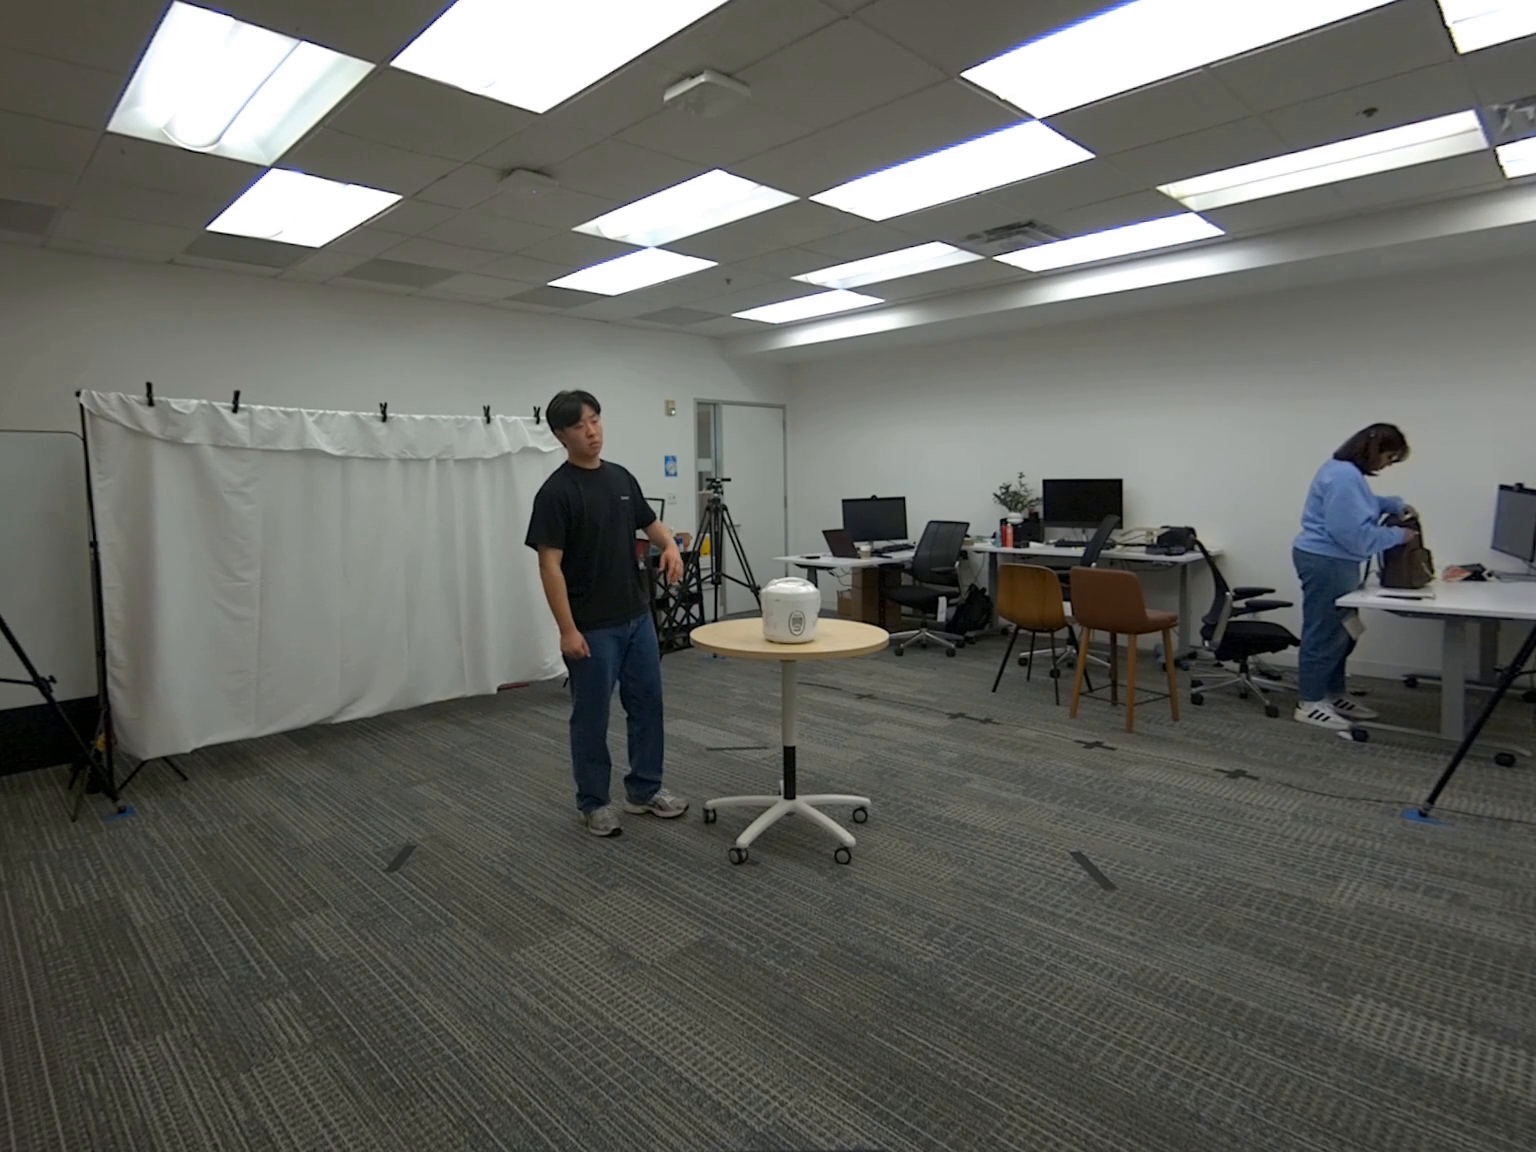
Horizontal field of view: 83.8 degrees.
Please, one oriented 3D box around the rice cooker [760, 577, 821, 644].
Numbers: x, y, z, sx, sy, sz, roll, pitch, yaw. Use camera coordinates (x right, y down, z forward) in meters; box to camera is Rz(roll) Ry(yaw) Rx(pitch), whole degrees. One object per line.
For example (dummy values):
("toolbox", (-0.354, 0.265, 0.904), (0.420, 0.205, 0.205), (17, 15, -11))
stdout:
("rice cooker", (0.088, 0.119, 3.151), (0.218, 0.232, 0.220), (-2, 5, -11))
